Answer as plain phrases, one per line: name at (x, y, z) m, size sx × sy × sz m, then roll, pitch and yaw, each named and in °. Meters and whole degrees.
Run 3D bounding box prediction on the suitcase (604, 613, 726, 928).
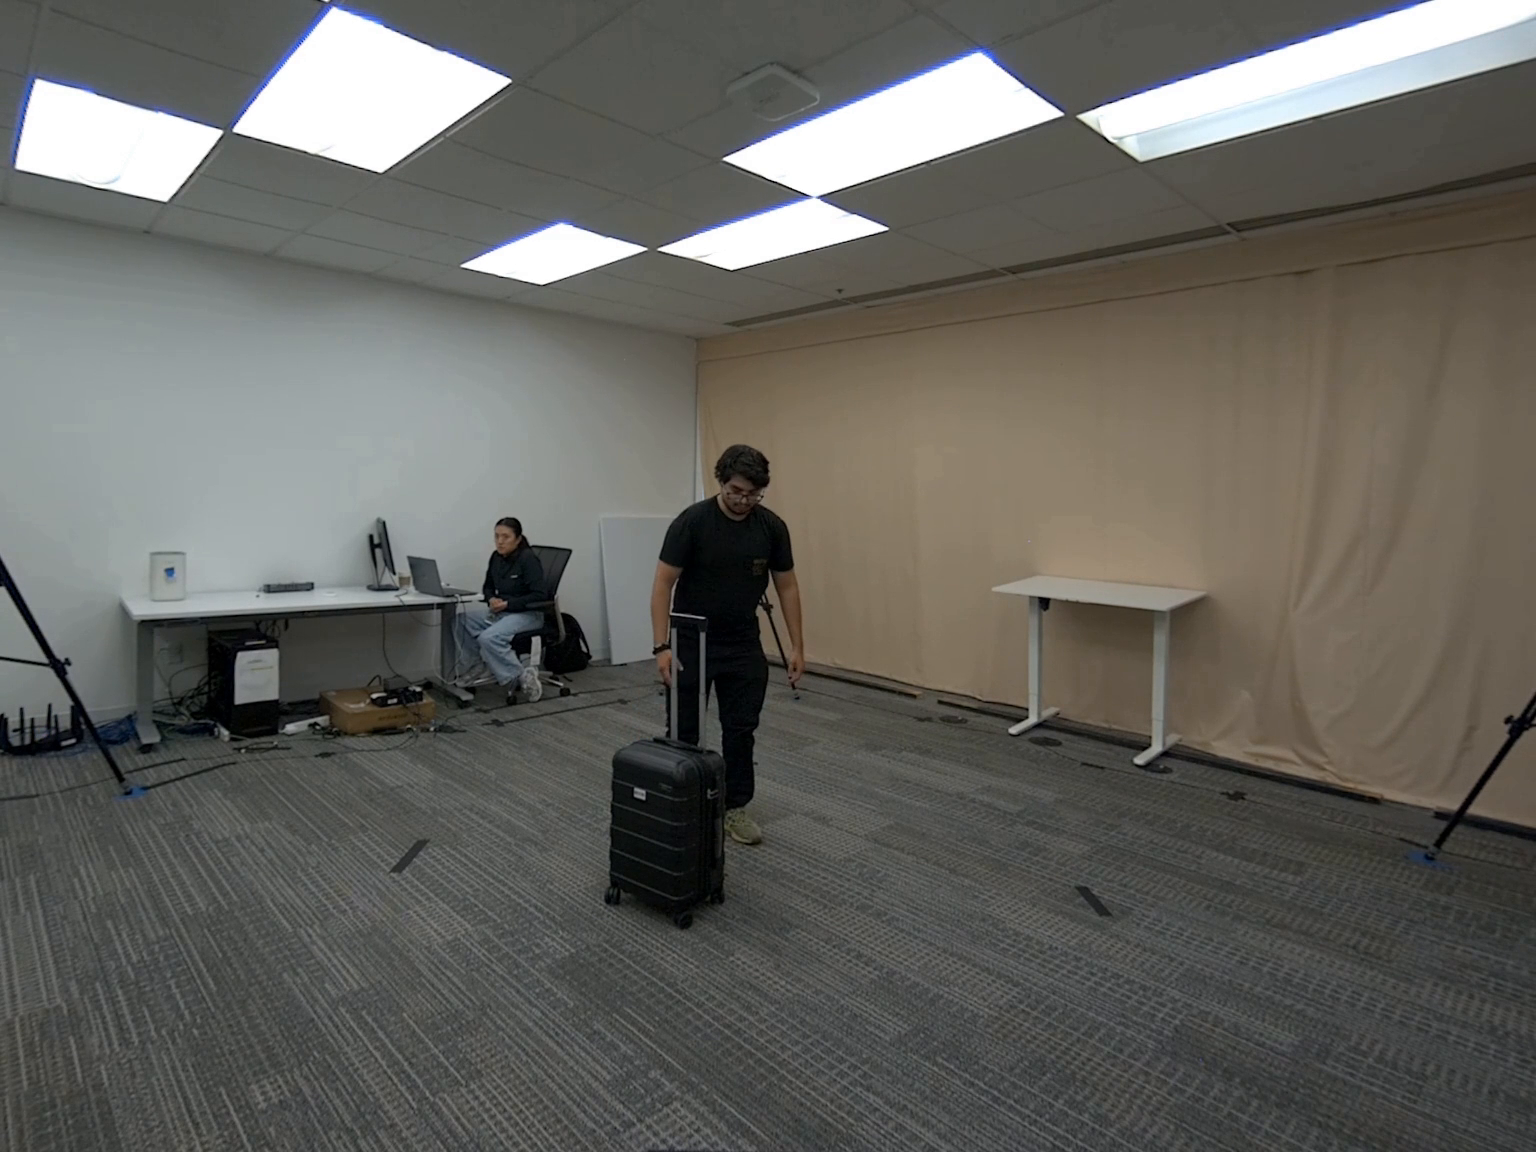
suitcase at (-0.353, 0.649, 2.844) m, size 0.393 × 0.975 × 0.252 m, roll 4°, pitch 6°, yaw 37°
